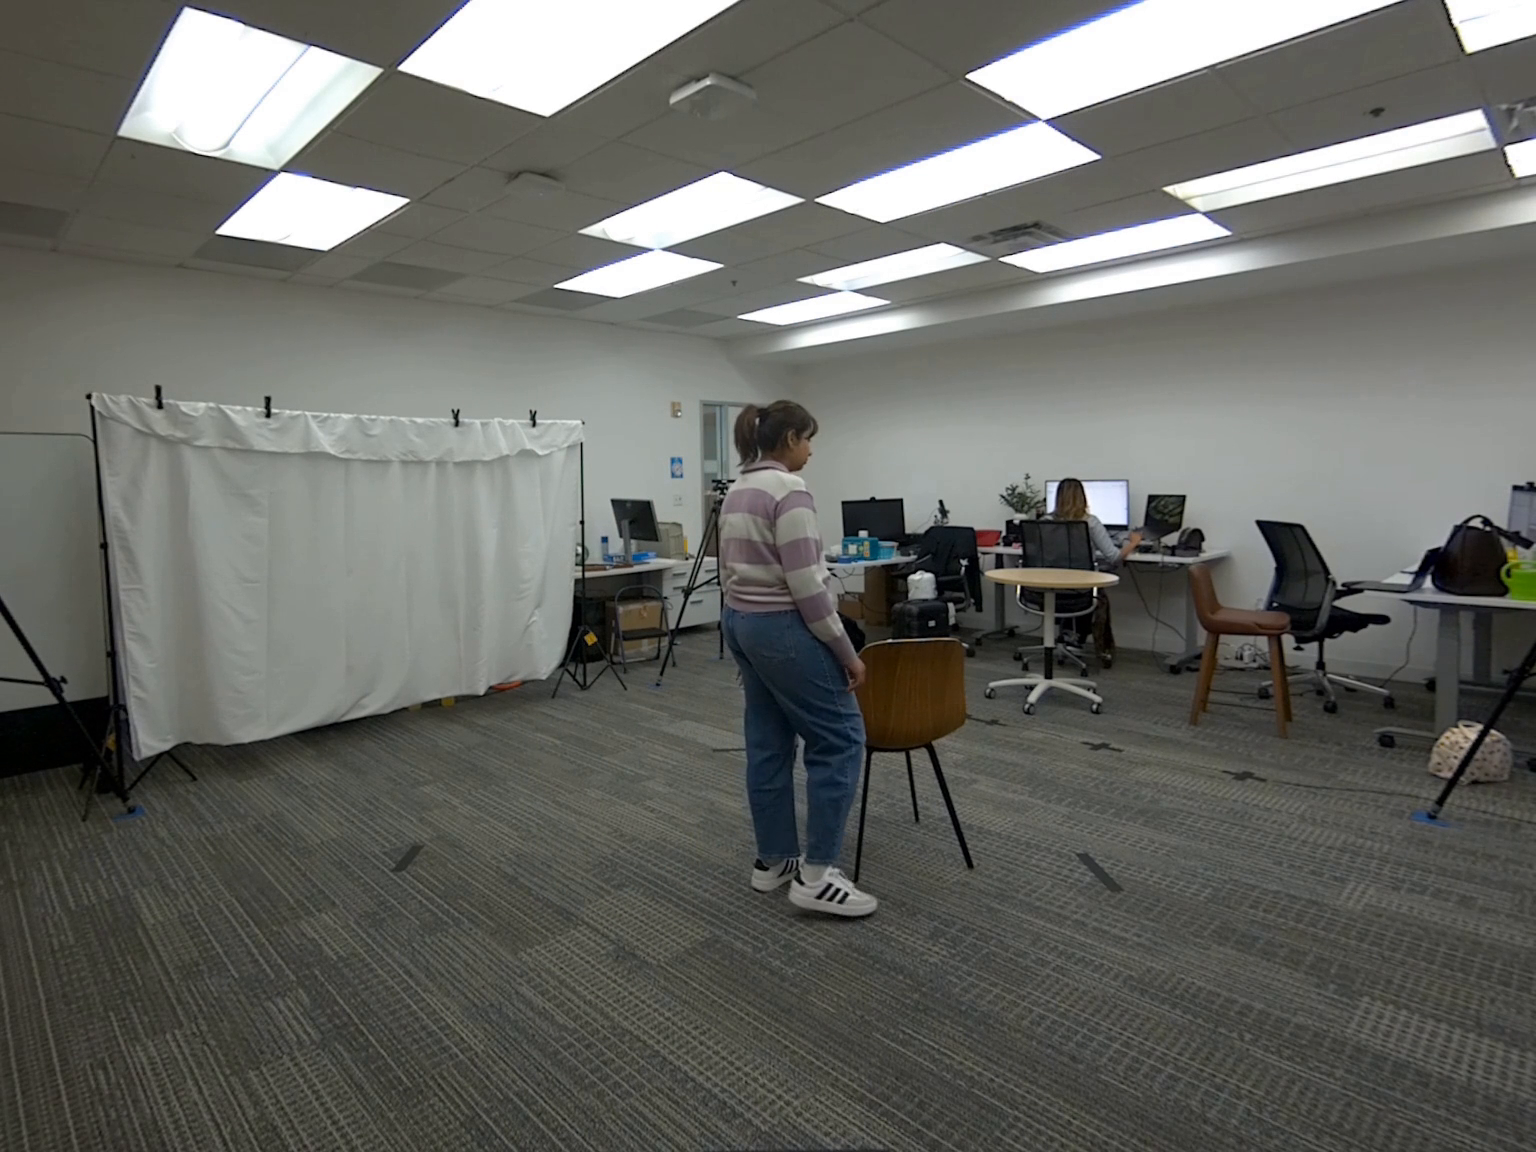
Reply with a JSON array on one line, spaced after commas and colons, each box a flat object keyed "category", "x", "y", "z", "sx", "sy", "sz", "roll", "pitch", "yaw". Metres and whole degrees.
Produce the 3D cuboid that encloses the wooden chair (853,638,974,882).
[{"category": "wooden chair", "x": 0.445, "y": 0.604, "z": 3.194, "sx": 0.472, "sy": 0.871, "sz": 0.533, "roll": -3, "pitch": 8, "yaw": -14}]
